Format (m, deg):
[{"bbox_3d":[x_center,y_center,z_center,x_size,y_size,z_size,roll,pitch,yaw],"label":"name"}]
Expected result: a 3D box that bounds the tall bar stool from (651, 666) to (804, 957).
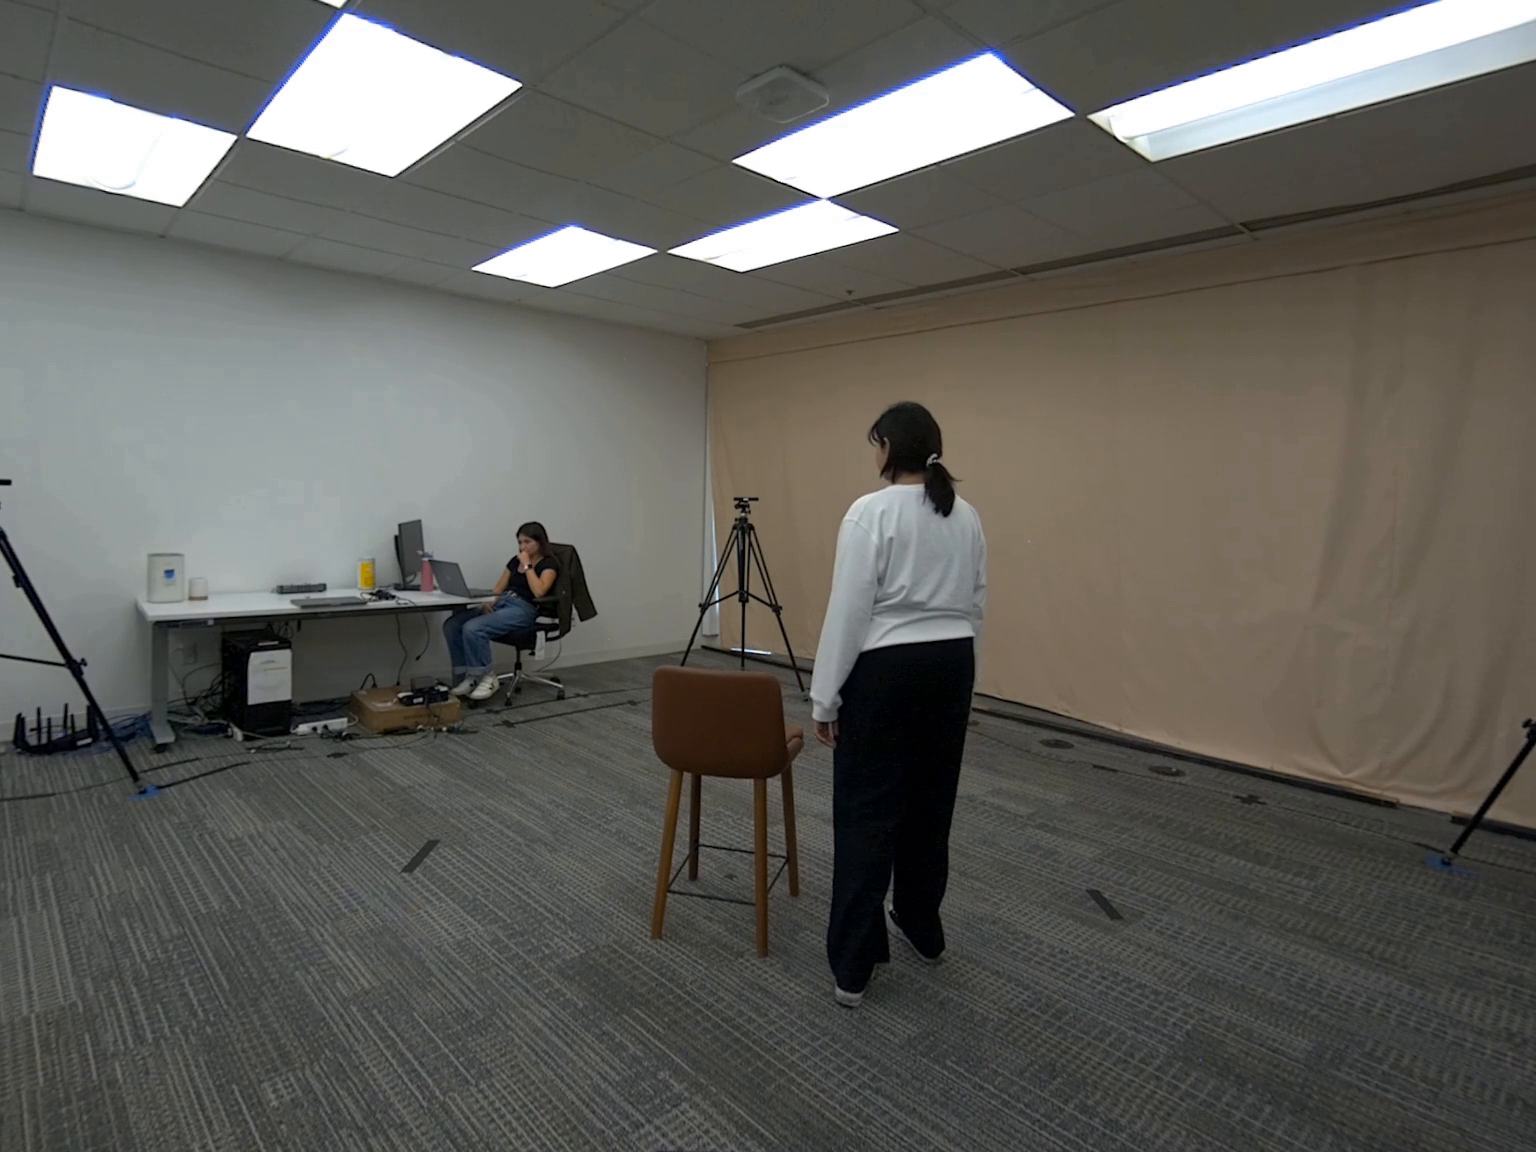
[{"bbox_3d":[-0.131,0.705,2.790,0.462,0.886,0.463,2,5,15],"label":"tall bar stool"}]
